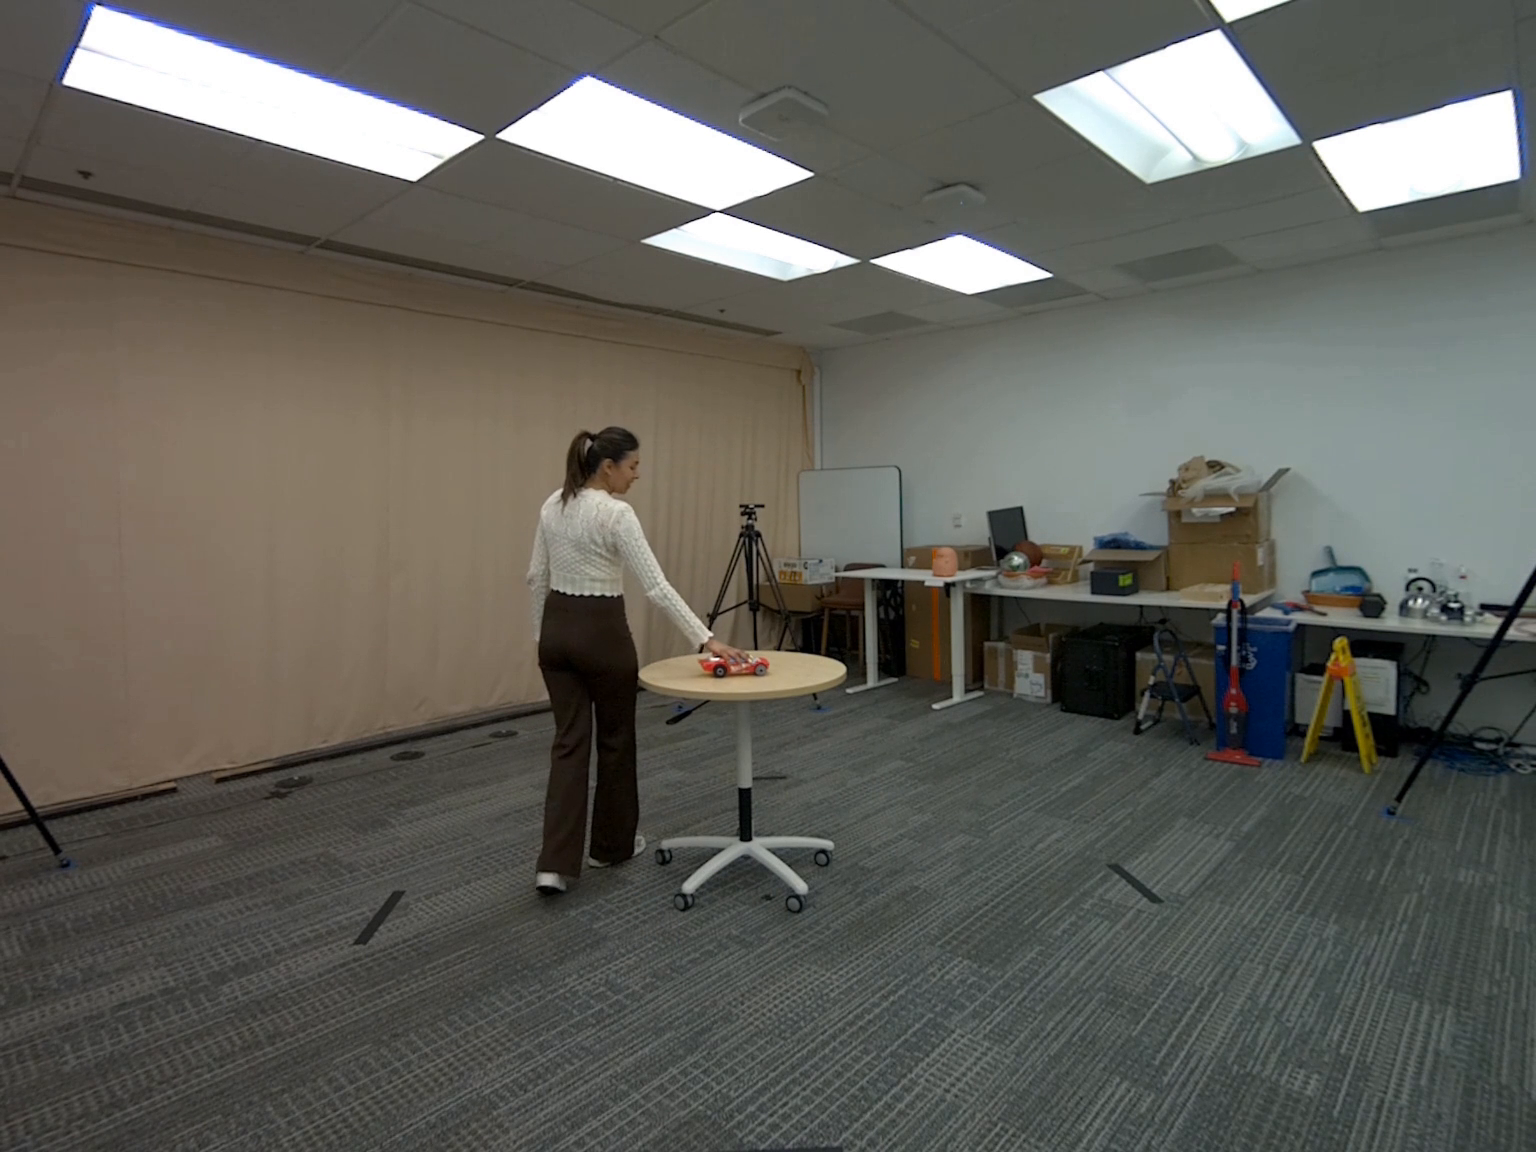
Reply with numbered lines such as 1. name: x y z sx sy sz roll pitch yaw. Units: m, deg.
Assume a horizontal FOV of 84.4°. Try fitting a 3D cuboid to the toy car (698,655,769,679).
1. toy car: -0.131 0.321 3.020 0.253 0.083 0.131 6 3 -6
